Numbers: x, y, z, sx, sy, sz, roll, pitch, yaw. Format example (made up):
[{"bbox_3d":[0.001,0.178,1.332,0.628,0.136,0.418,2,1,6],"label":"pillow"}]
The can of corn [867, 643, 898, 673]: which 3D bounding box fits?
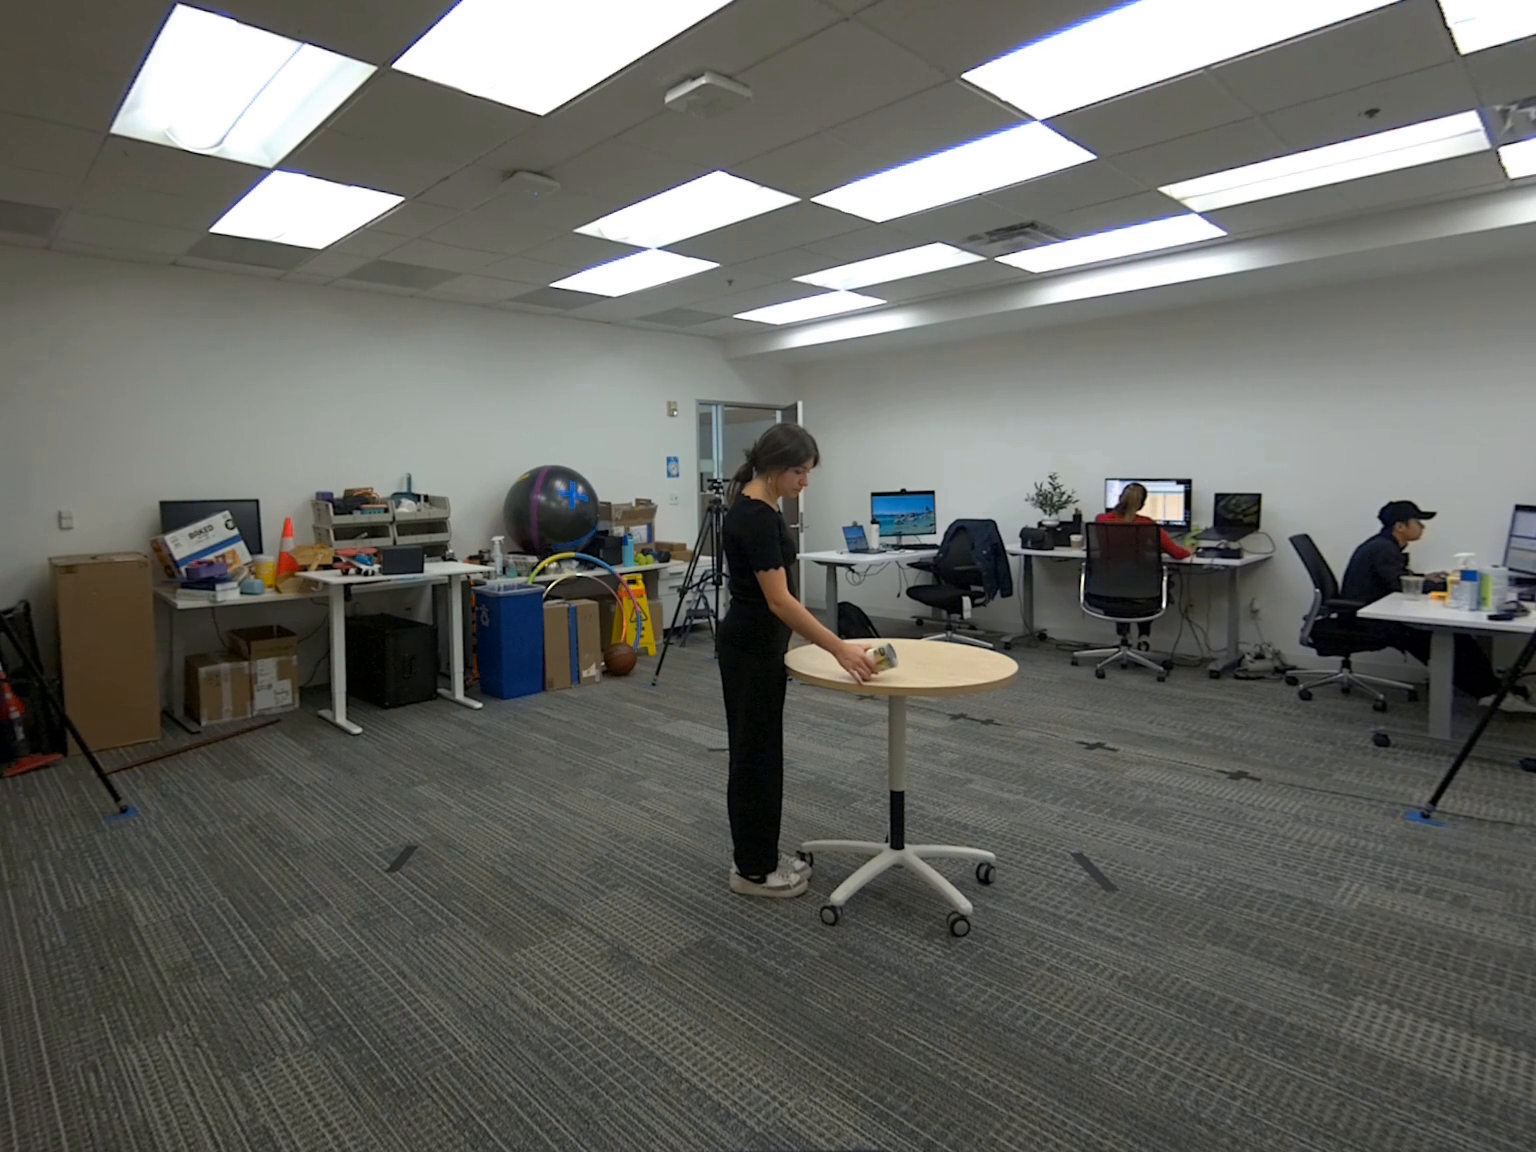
[{"bbox_3d":[0.328,0.257,2.588,0.112,0.074,0.073,-20,-3,23],"label":"can of corn"}]
